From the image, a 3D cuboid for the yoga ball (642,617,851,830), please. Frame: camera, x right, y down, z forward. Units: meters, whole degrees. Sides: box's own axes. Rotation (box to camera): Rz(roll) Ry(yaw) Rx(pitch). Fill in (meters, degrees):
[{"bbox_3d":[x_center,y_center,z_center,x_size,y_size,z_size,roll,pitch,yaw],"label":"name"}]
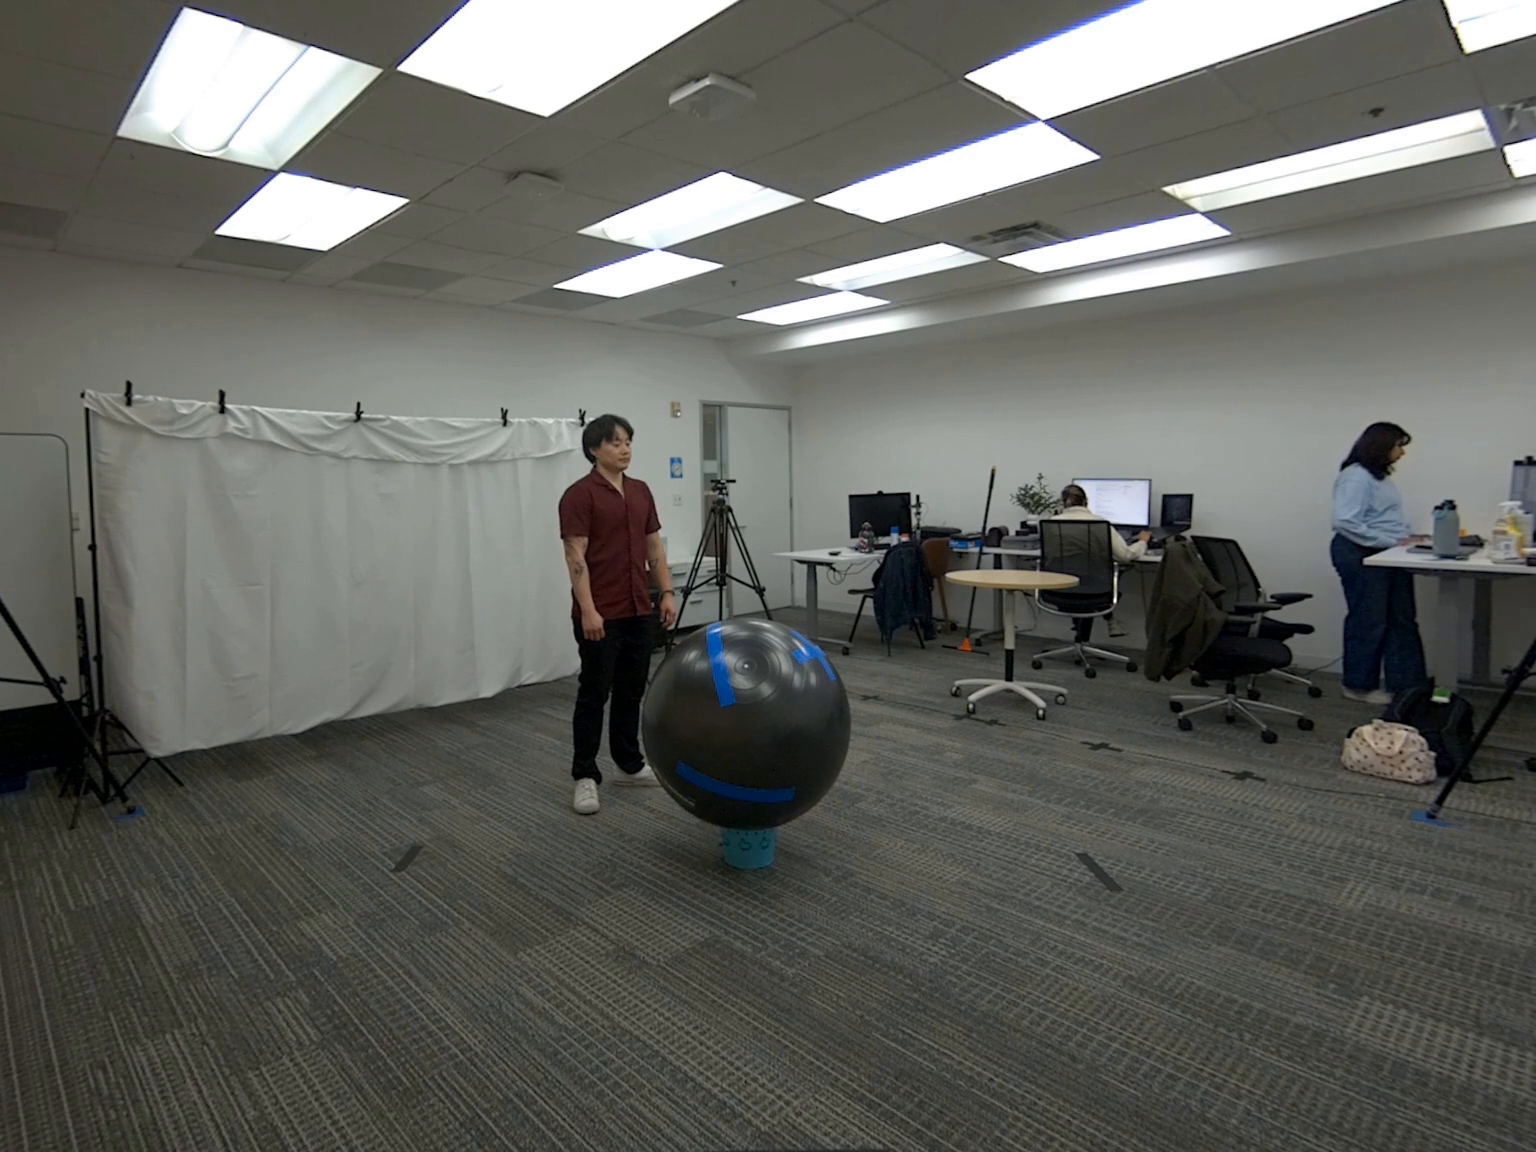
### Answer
[{"bbox_3d":[-0.085,0.531,3.125,0.757,0.755,0.762,-1,5,-2],"label":"yoga ball"}]
